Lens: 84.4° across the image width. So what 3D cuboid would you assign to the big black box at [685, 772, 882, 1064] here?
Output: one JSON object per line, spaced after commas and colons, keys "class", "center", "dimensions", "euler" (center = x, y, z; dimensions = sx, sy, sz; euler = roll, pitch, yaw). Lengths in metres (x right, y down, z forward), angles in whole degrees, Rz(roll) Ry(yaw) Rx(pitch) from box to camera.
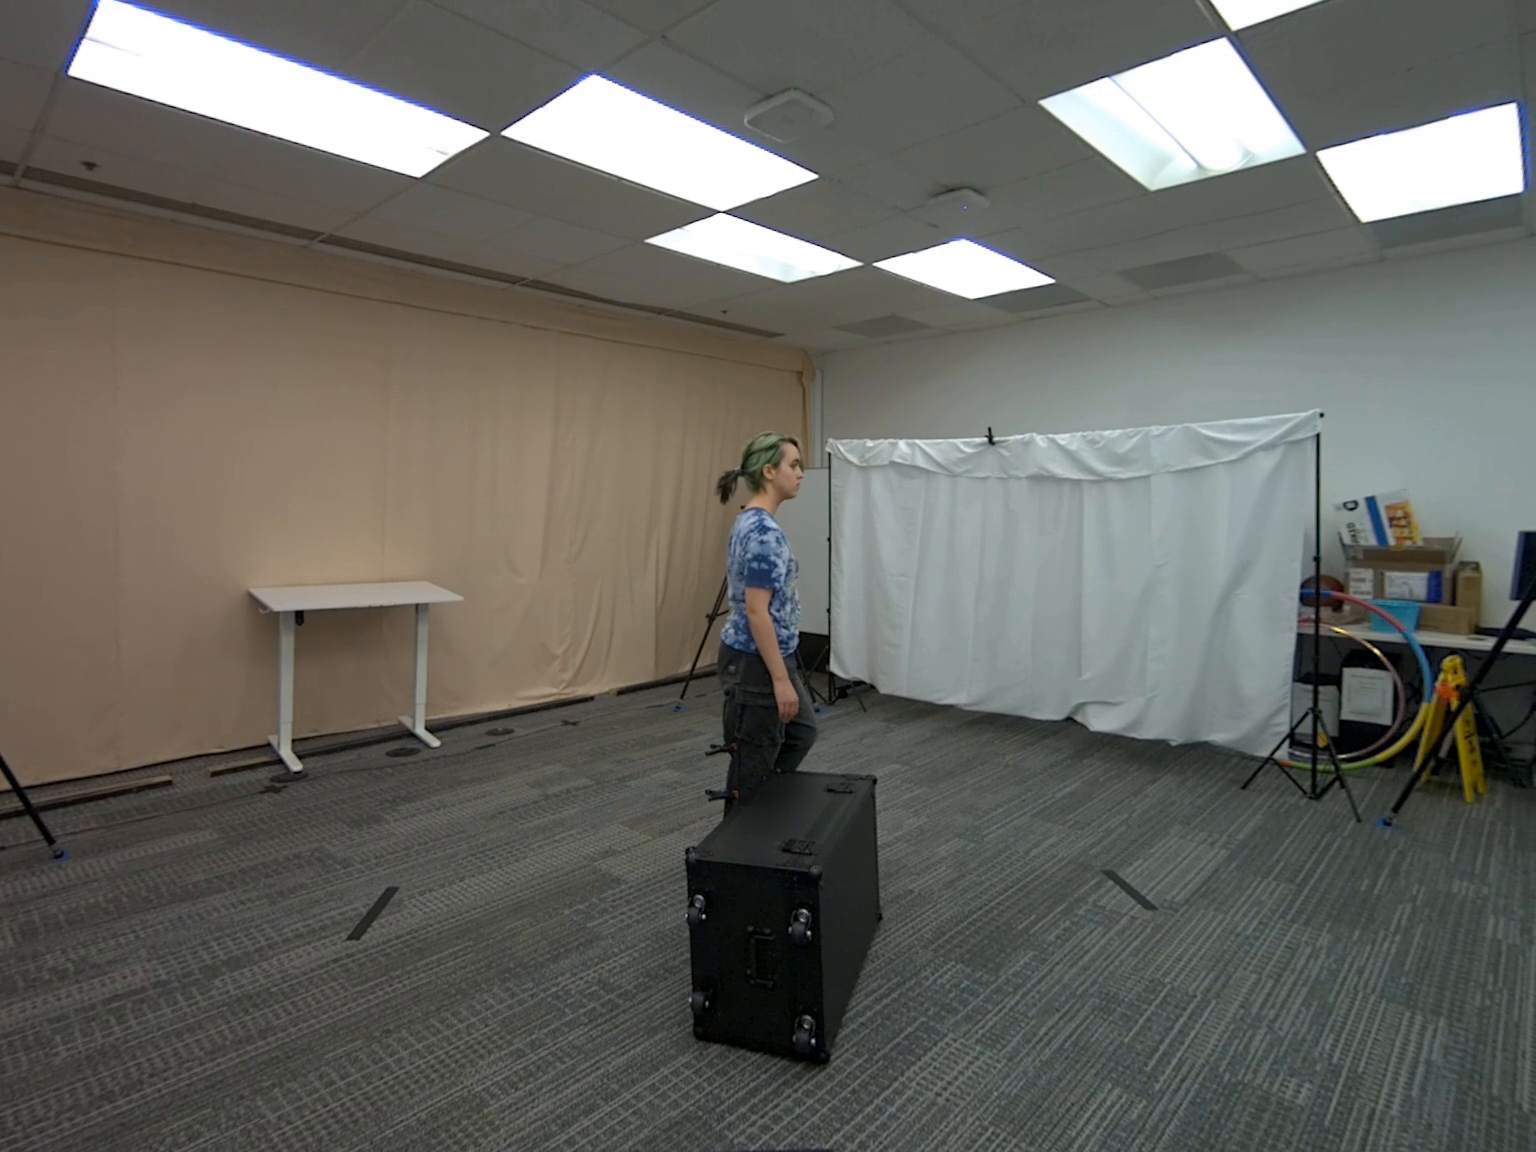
{"class": "big black box", "center": [0.064, 0.930, 2.459], "dimensions": [0.404, 0.520, 0.845], "euler": [-1, 3, 18]}
